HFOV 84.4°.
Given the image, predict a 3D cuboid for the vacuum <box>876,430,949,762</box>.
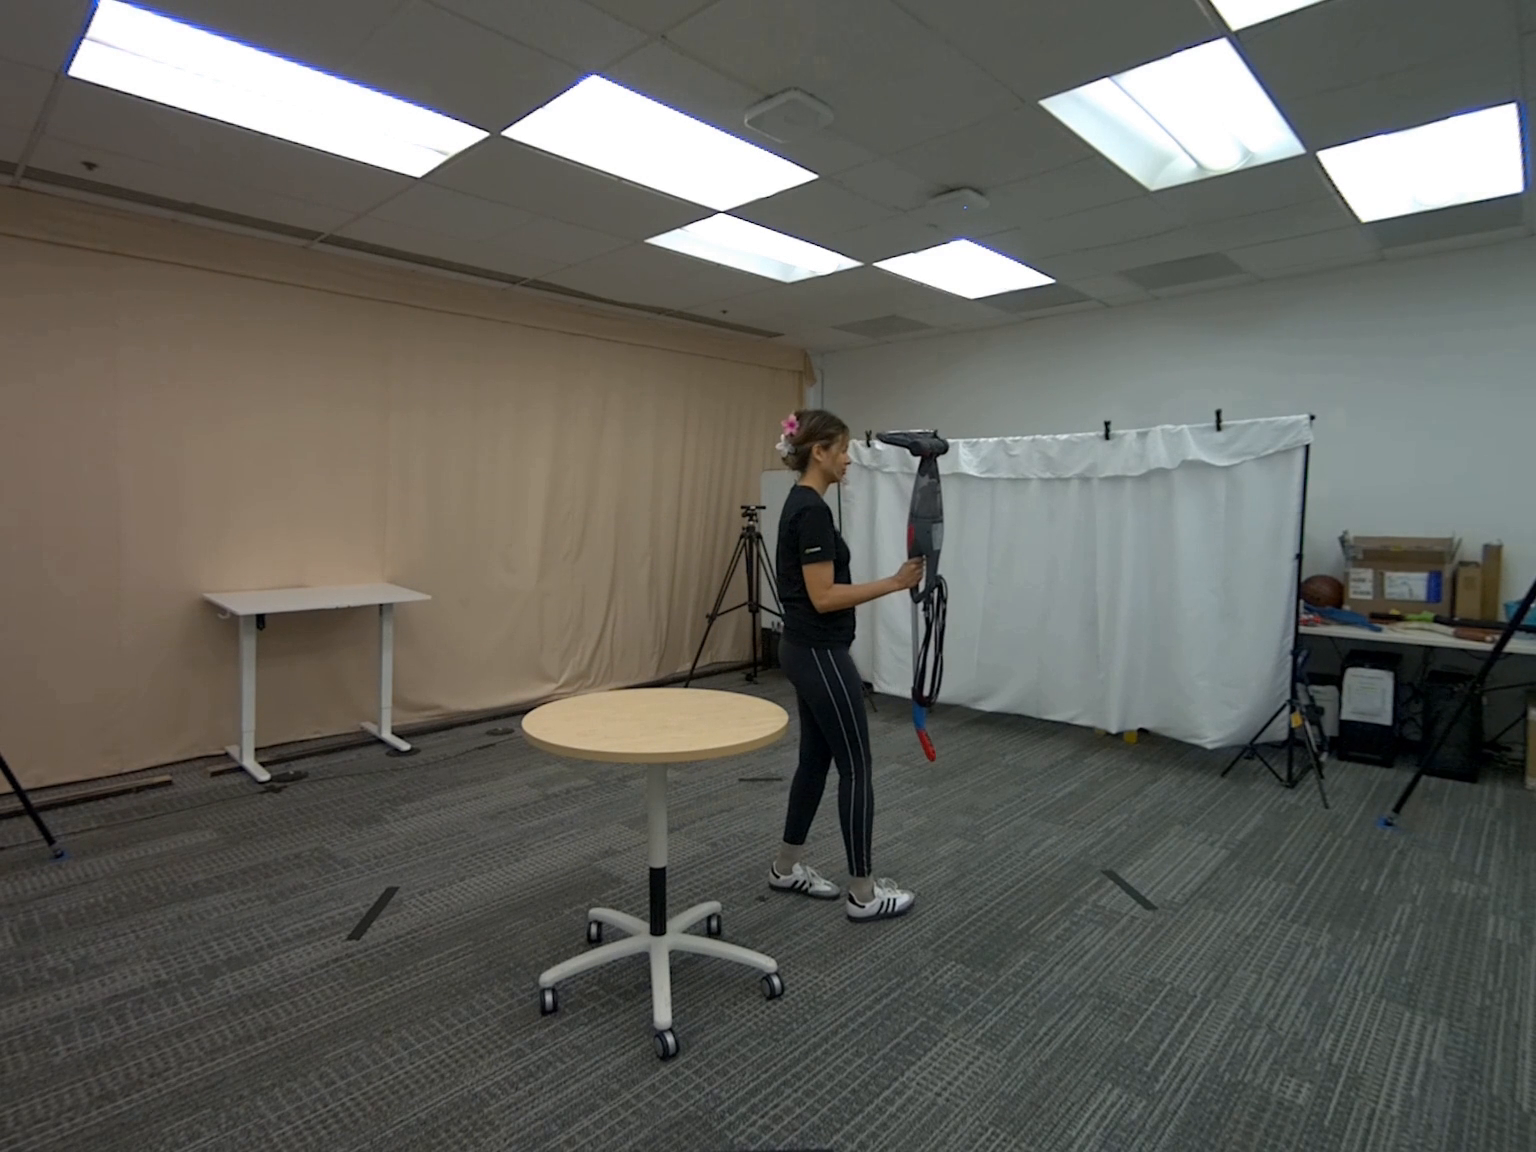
[{"bbox_3d":[0.523,0.075,2.704,0.246,1.045,0.148,-8,6,-32],"label":"vacuum"}]
